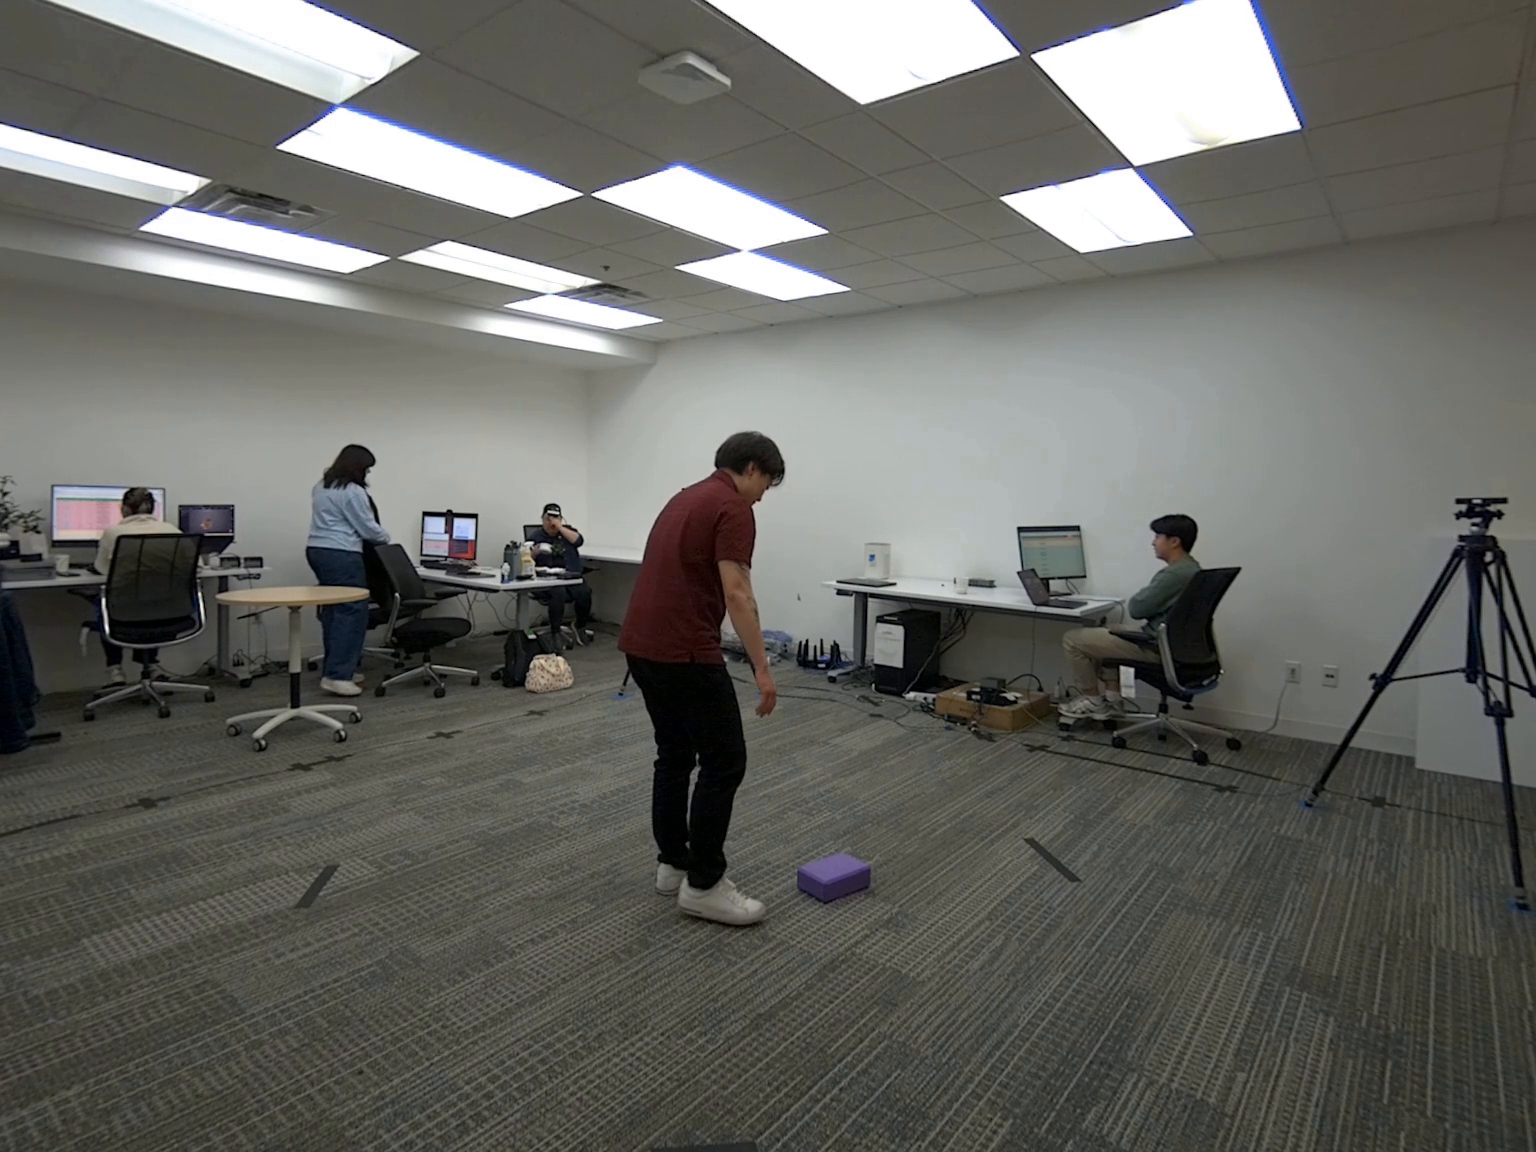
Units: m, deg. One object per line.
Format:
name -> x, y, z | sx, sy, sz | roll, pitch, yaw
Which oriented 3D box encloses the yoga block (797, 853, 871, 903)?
yoga block -> 0.225, 1.056, 2.980 | 0.222, 0.076, 0.154 | -3, 7, -38
